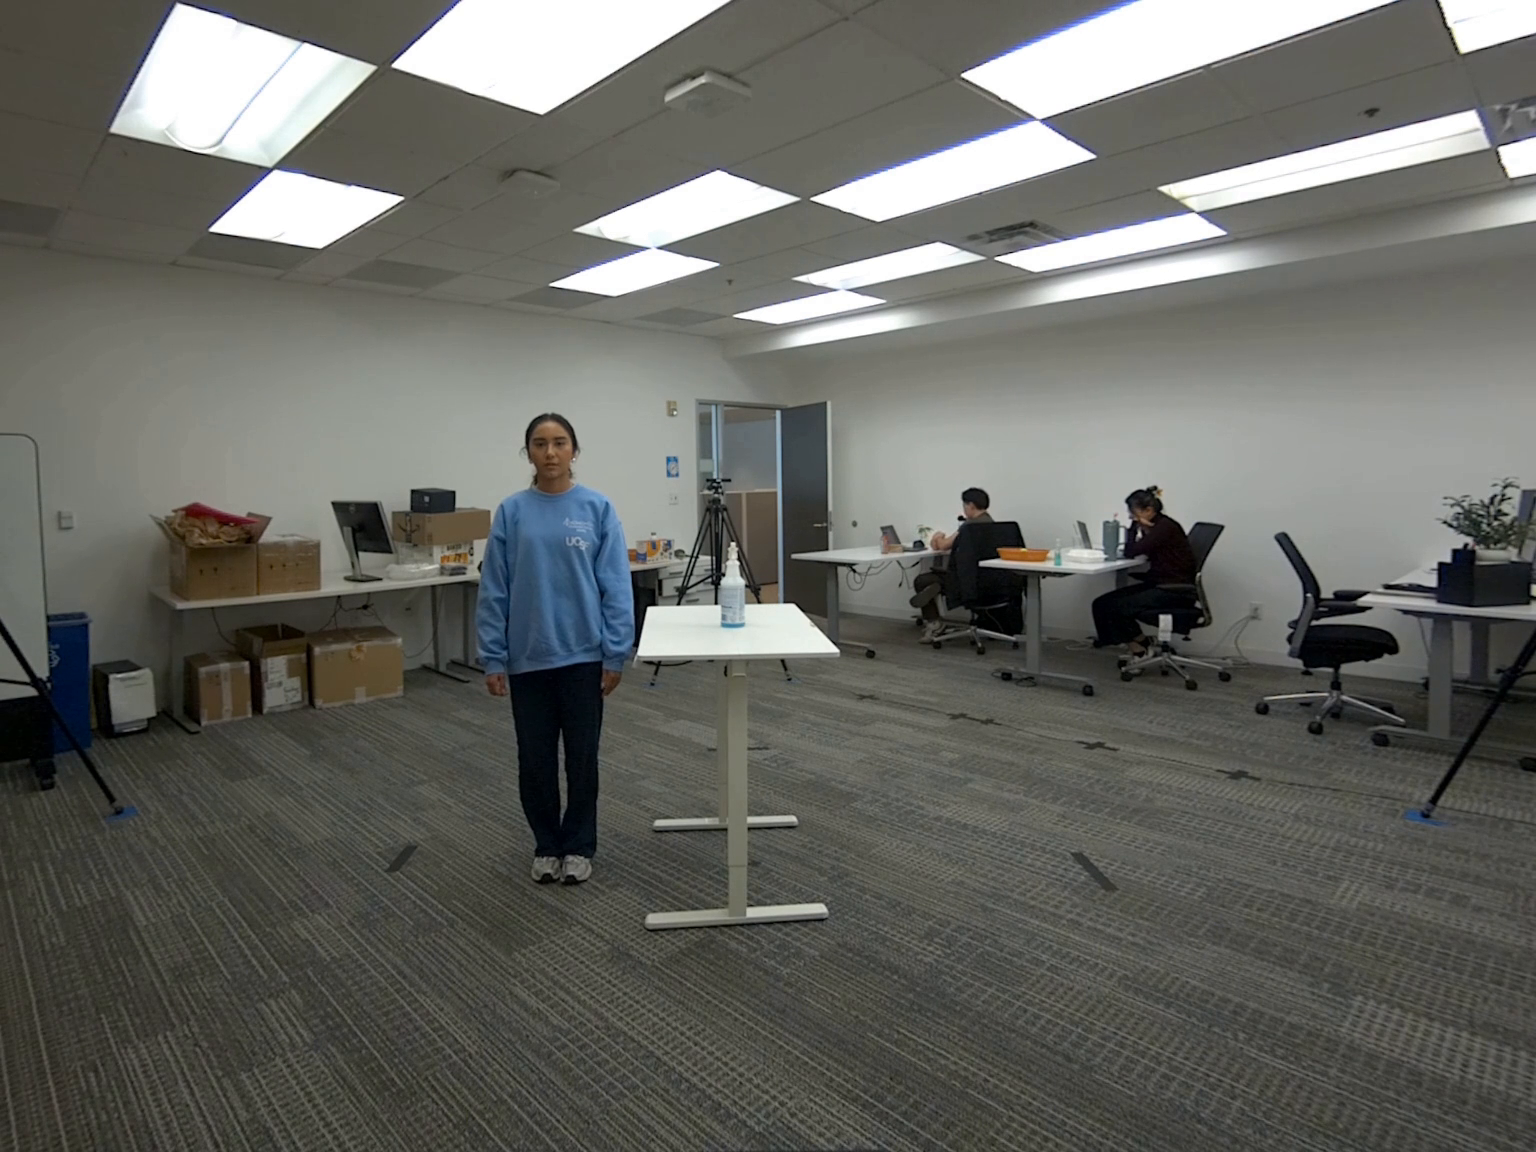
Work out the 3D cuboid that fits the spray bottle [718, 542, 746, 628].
[{"bbox_3d":[-0.123,0.030,2.991,0.089,0.295,0.089,2,7,20],"label":"spray bottle"}]
